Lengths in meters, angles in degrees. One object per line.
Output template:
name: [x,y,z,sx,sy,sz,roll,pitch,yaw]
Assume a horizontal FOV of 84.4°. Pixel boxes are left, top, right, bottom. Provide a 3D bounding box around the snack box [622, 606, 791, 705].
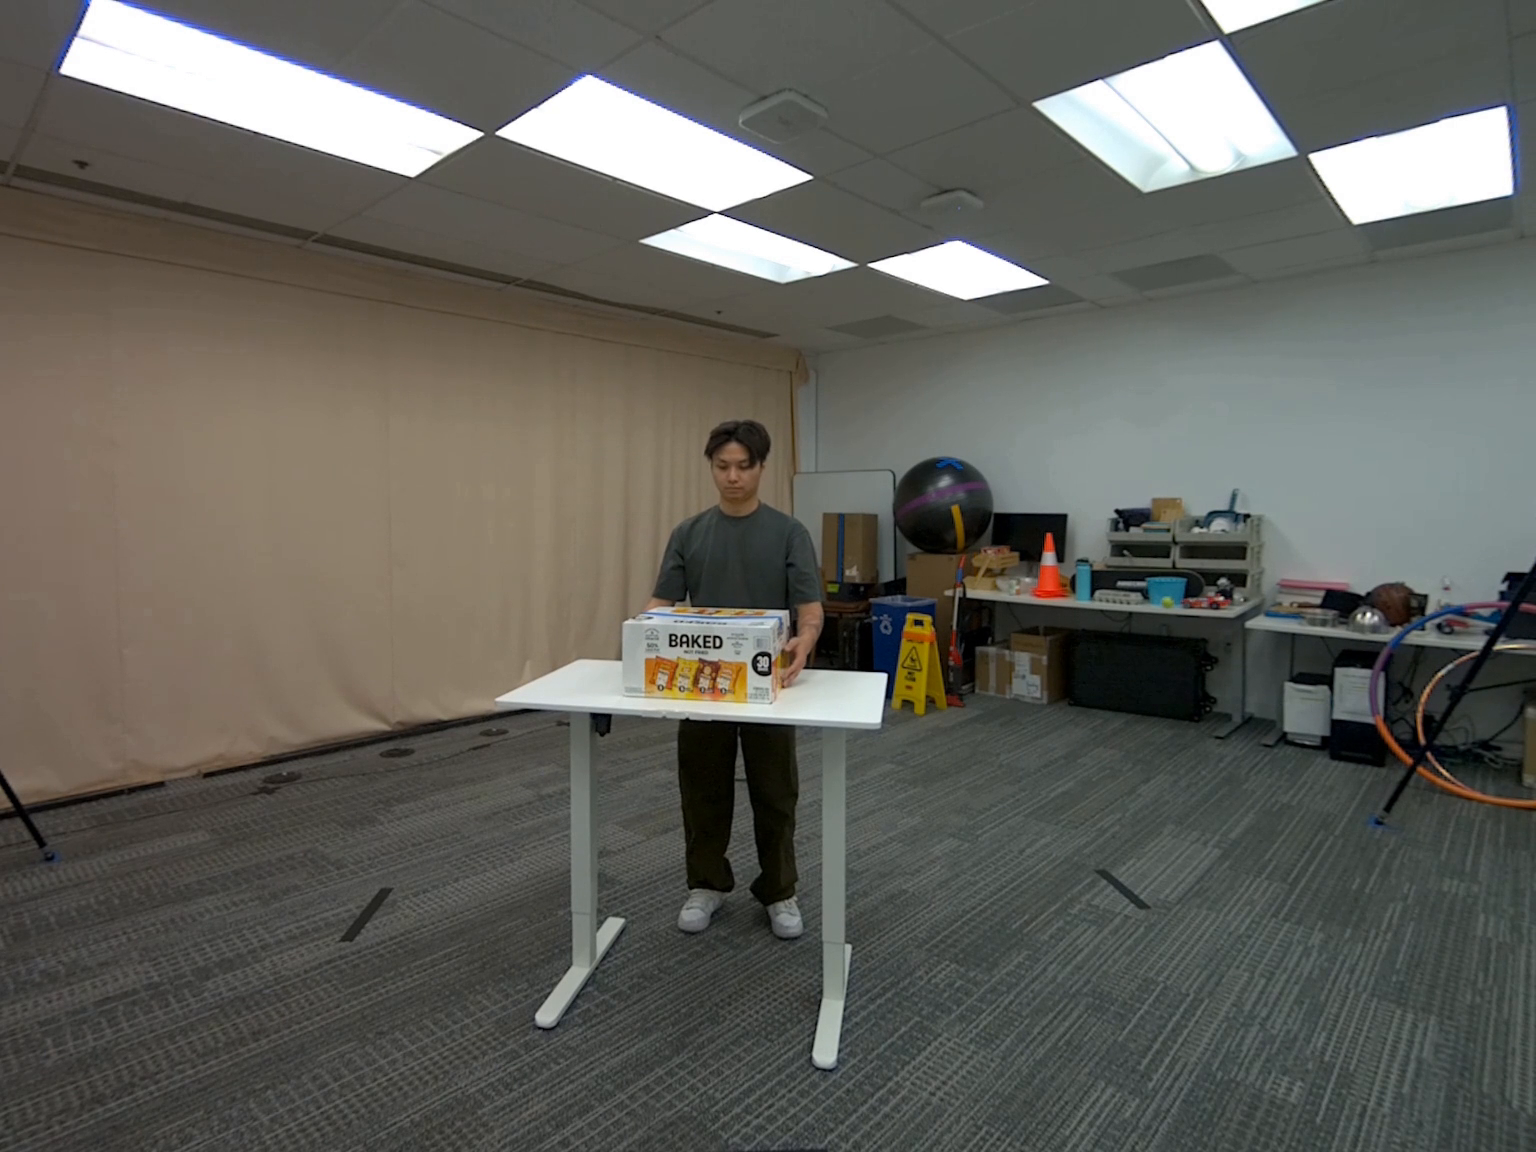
snack box: [-0.161,0.213,2.374,0.410,0.205,0.337,1,4,11]
